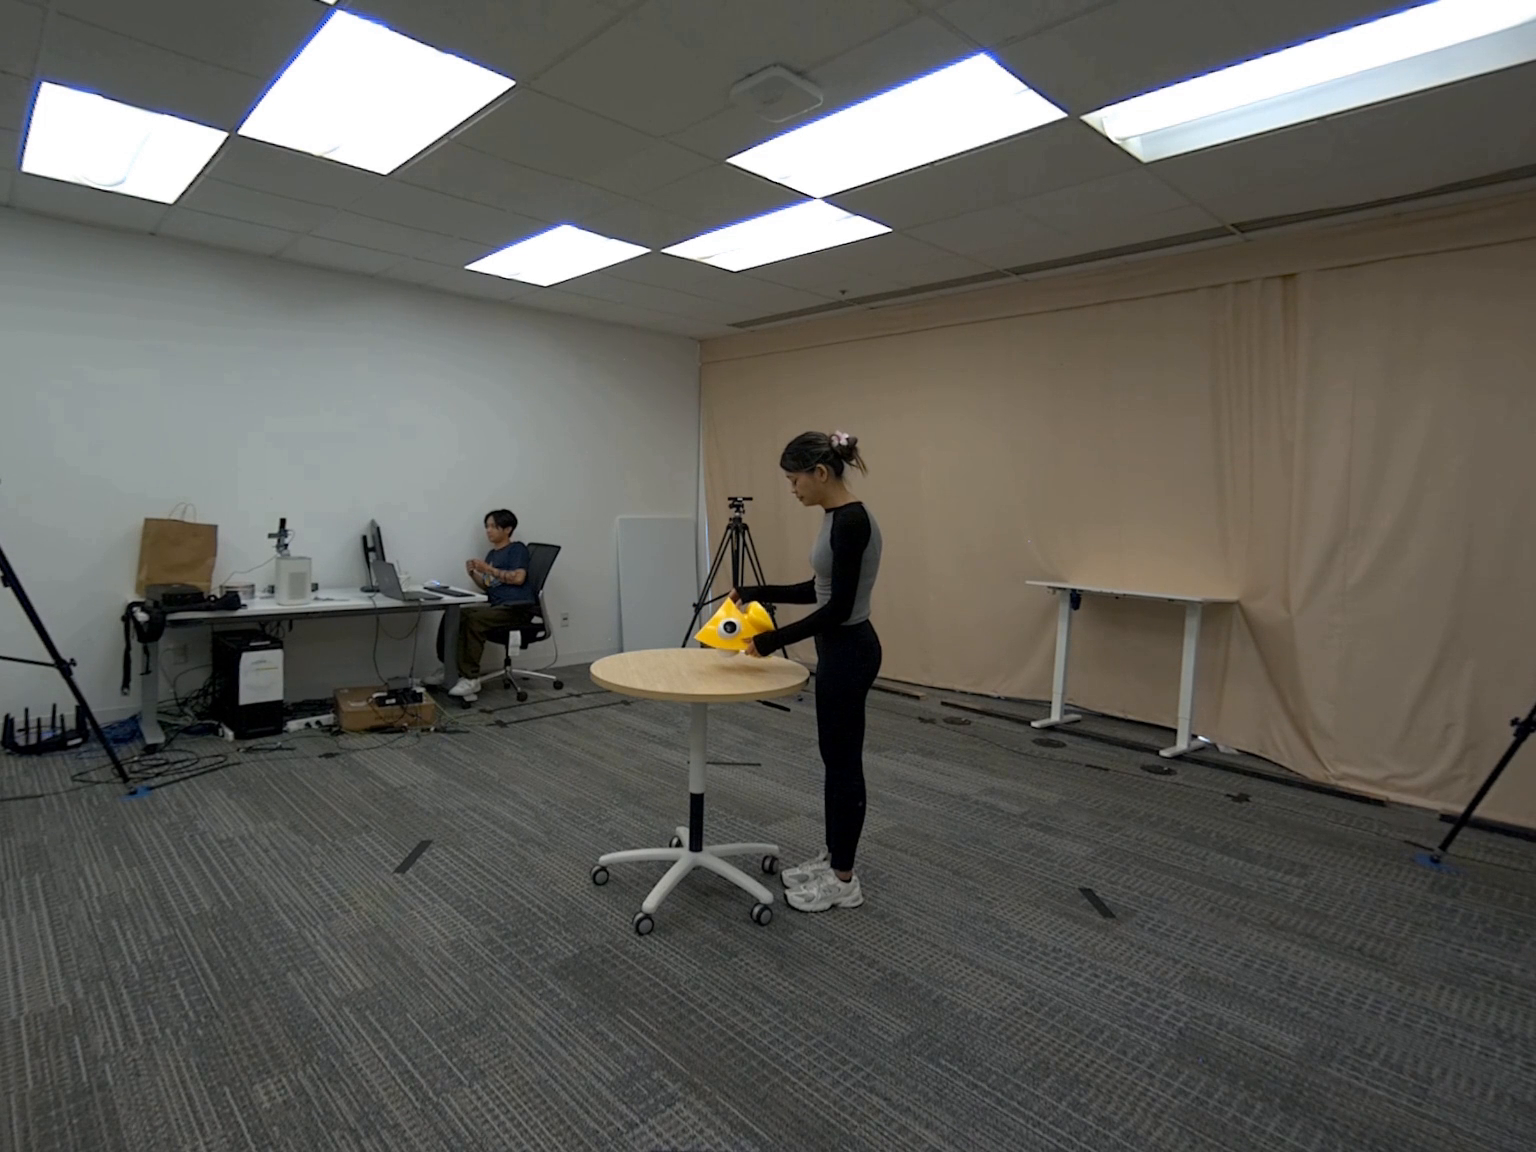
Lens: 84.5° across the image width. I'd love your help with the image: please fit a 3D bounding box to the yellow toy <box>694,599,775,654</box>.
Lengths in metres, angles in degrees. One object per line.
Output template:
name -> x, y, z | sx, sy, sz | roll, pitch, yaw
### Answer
yellow toy -> -0.129, 0.215, 2.933 | 0.228, 0.201, 0.199 | -17, 40, -26
